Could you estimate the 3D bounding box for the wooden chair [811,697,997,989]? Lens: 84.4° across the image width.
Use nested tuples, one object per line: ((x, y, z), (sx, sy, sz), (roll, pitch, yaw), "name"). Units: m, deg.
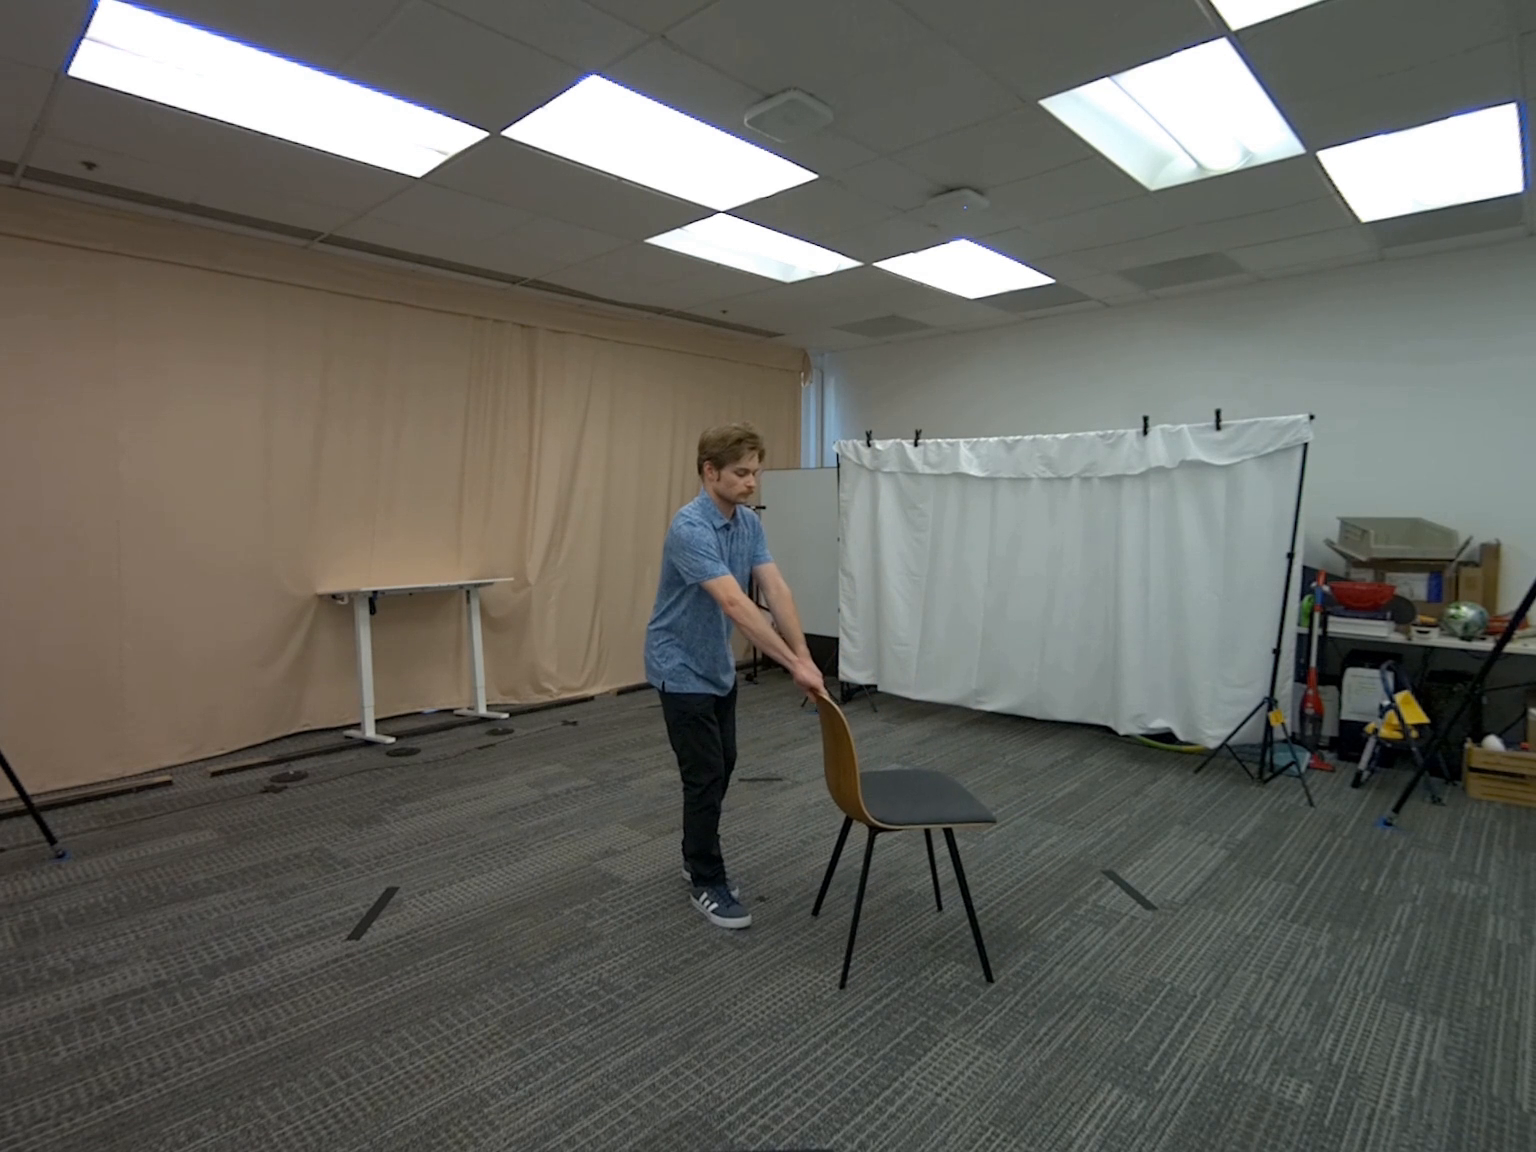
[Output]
((0.417, 0.745, 2.632), (0.520, 0.875, 0.482), (-5, 3, -6), "wooden chair")
